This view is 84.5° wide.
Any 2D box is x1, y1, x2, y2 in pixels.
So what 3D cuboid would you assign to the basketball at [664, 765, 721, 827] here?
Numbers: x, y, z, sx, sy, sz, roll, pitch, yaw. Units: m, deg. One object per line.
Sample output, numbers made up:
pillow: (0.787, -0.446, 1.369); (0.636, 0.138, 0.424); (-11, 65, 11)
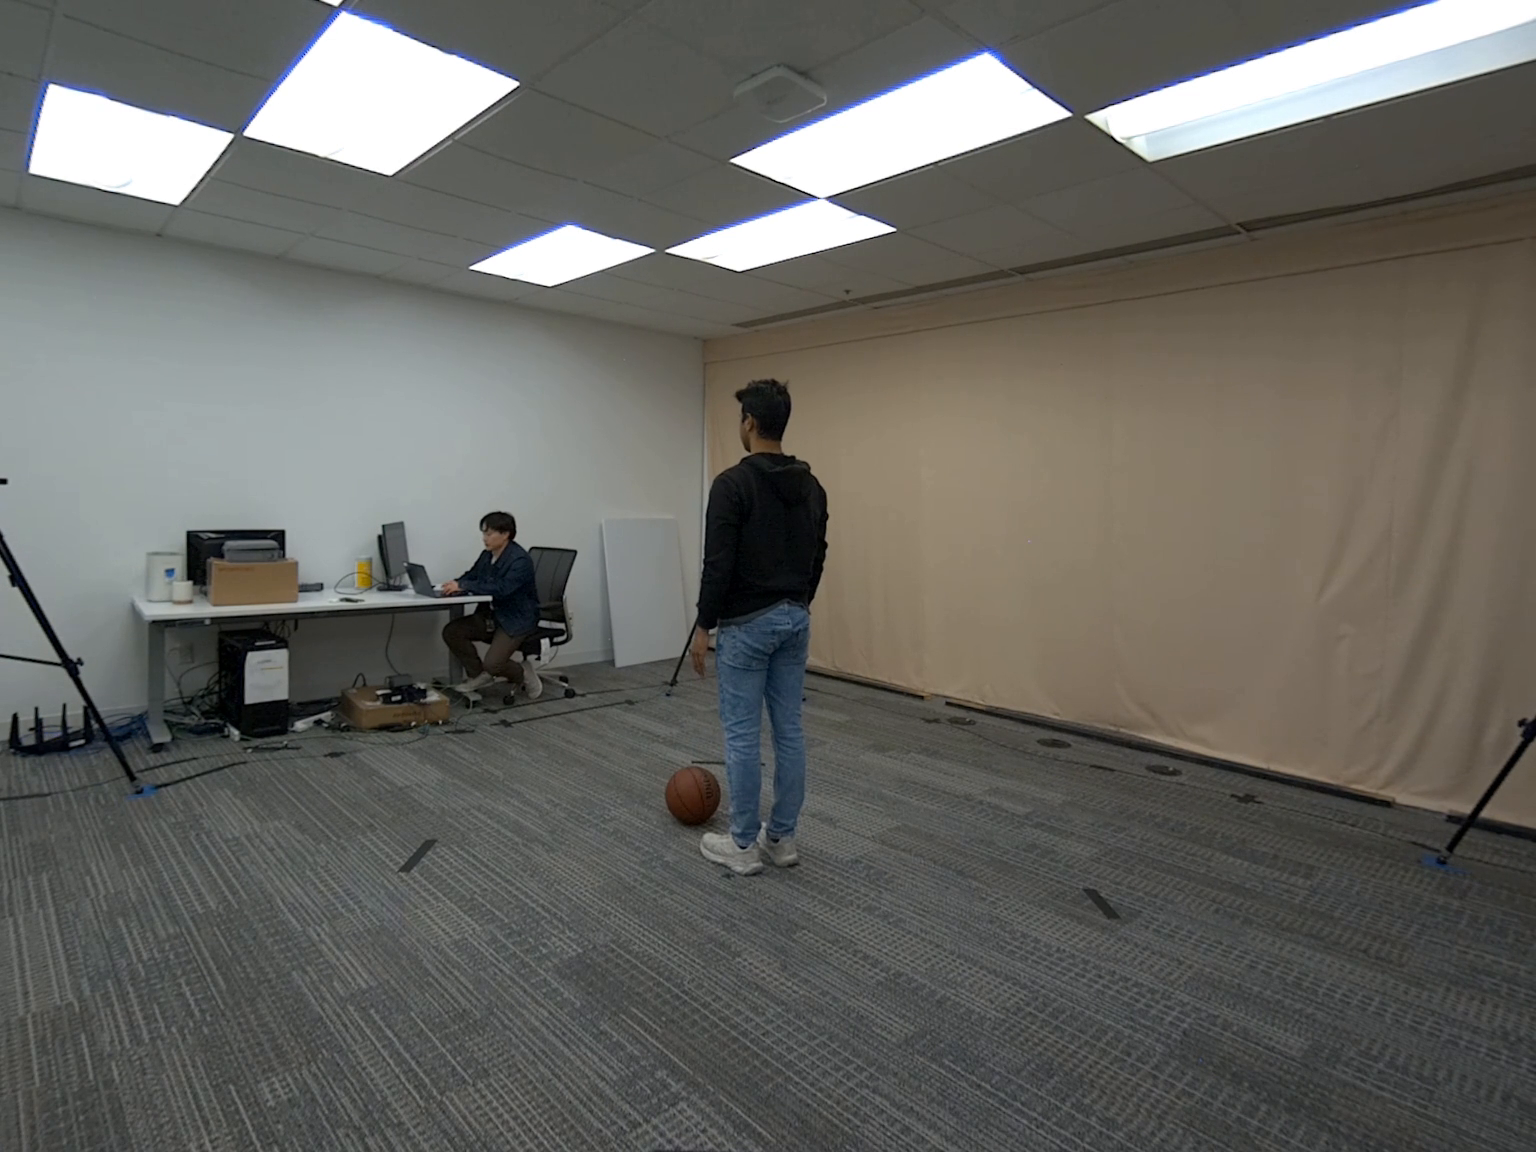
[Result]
basketball: (-0.331, 0.937, 3.616); (0.236, 0.235, 0.237); (1, 4, -1)
